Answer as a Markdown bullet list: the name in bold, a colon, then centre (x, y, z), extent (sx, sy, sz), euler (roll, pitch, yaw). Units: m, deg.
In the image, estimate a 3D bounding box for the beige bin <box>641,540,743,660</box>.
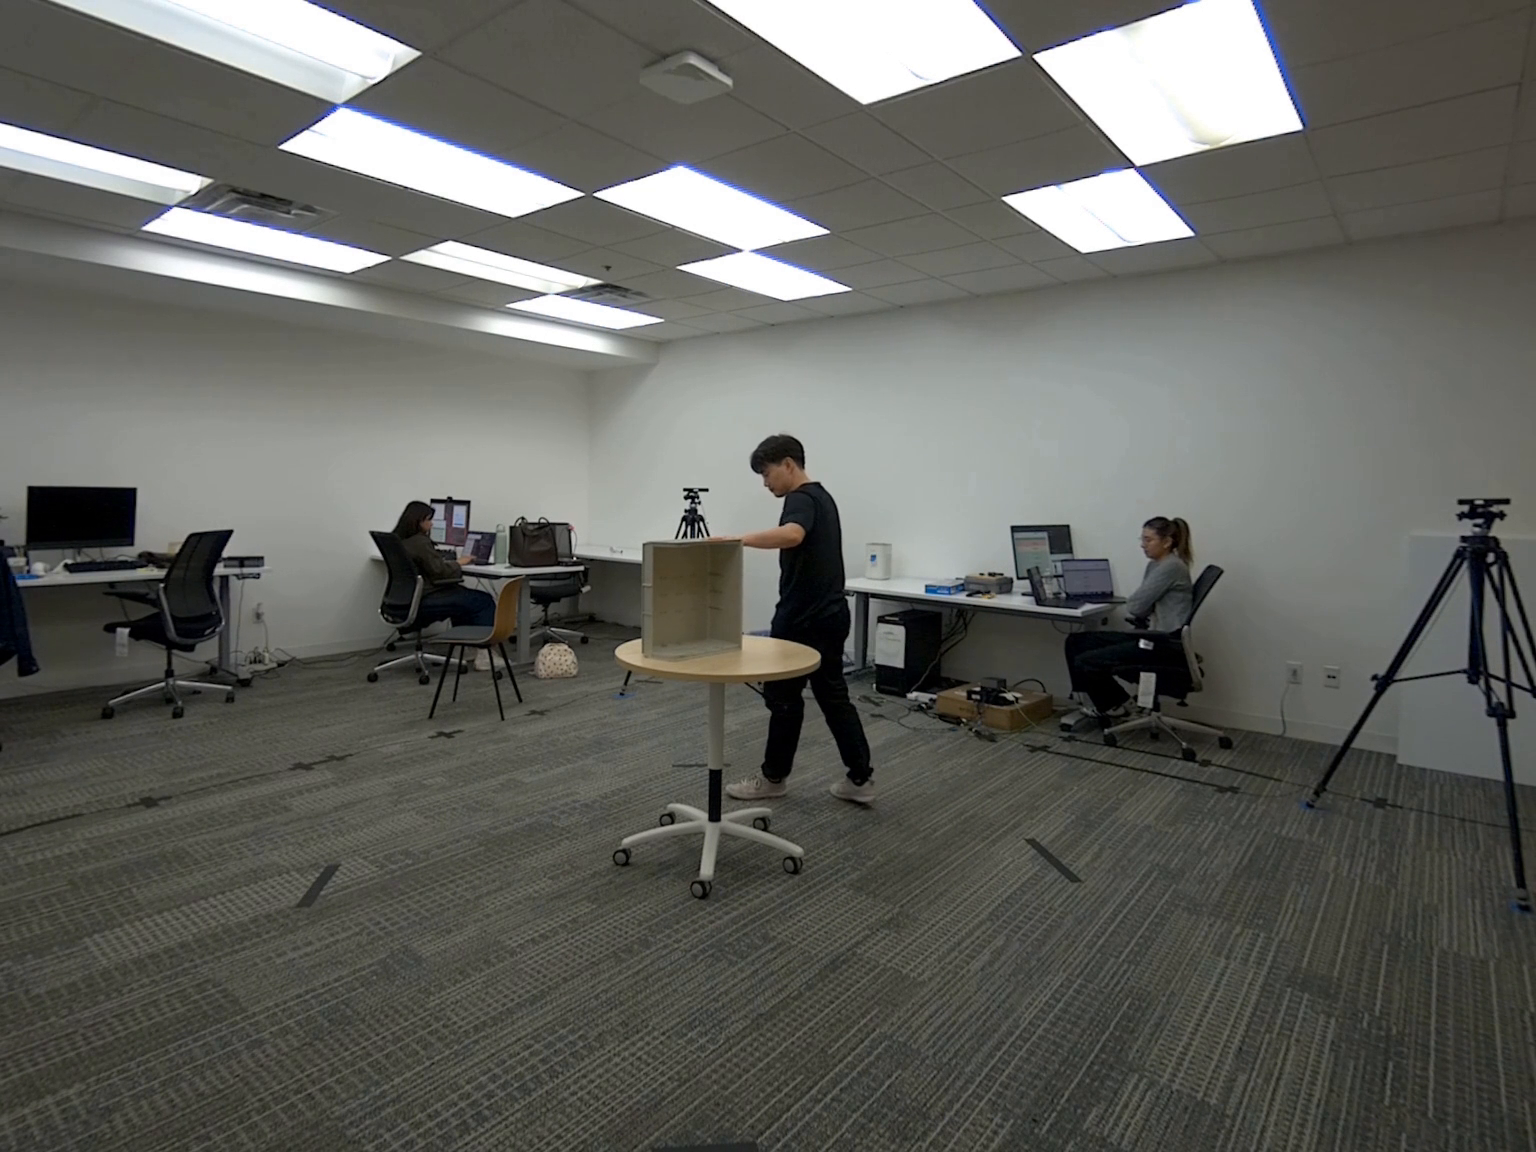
- **beige bin**: centre (-0.295, 0.073, 3.146), extent (0.195, 0.421, 0.366), euler (2, 4, 43)
